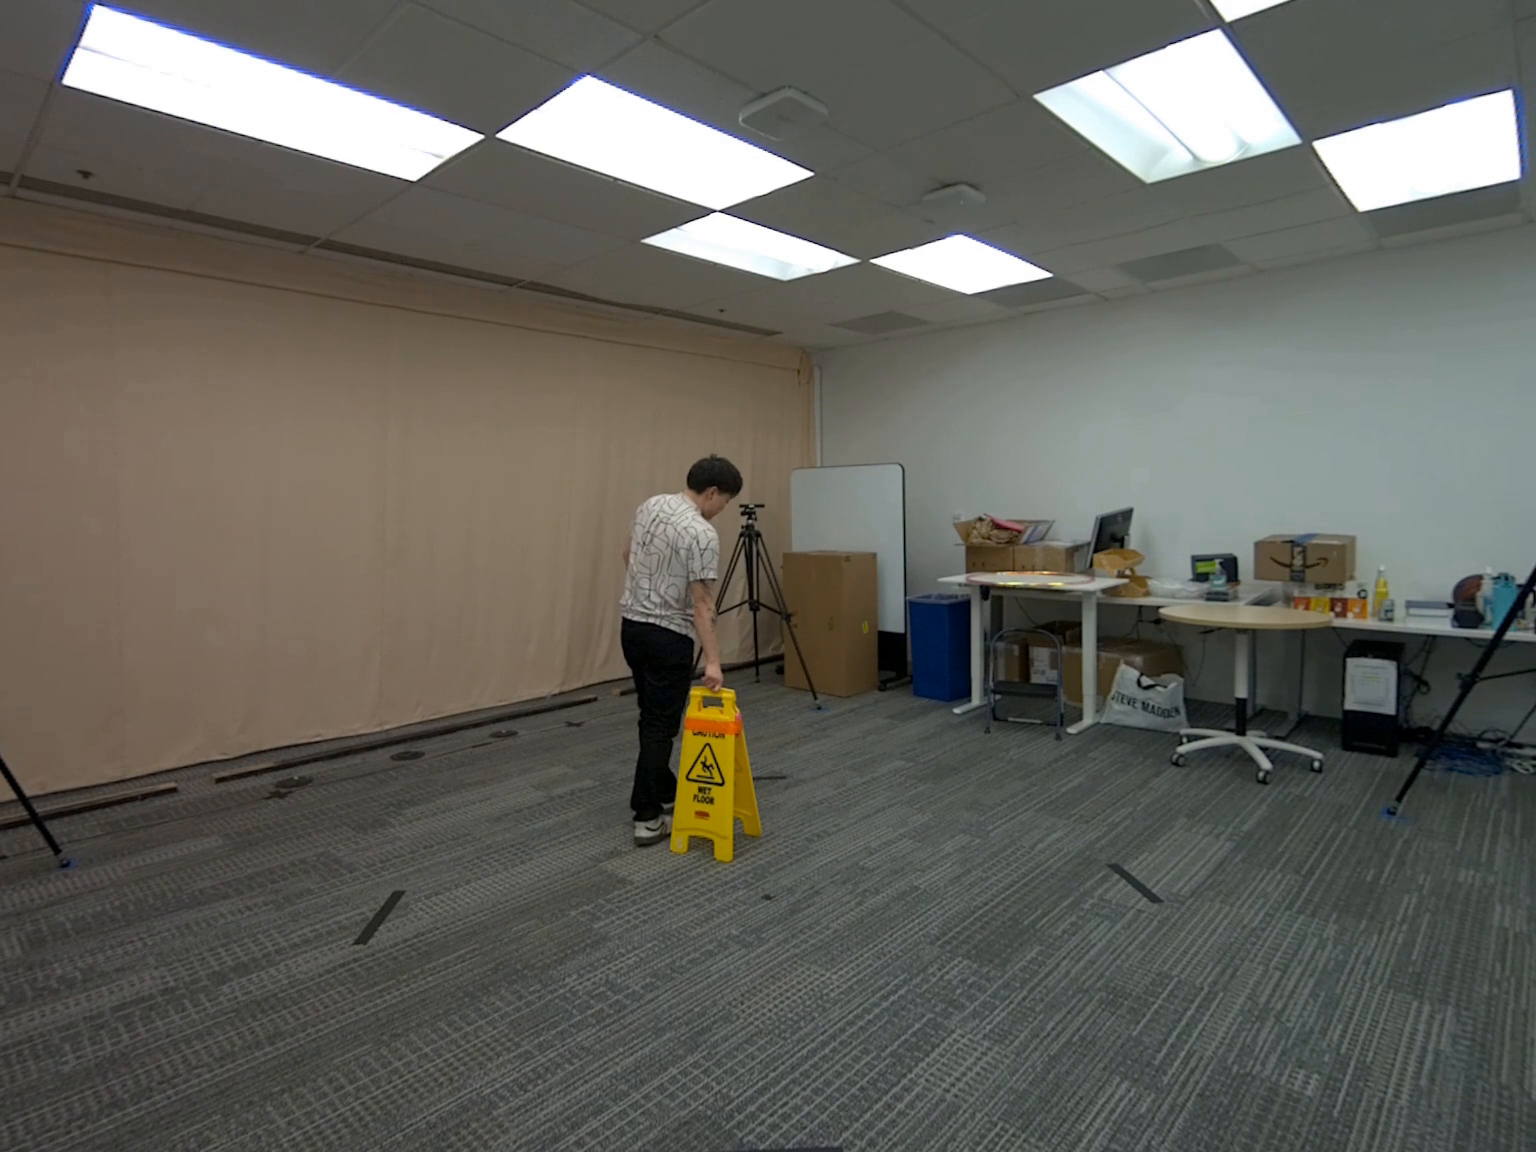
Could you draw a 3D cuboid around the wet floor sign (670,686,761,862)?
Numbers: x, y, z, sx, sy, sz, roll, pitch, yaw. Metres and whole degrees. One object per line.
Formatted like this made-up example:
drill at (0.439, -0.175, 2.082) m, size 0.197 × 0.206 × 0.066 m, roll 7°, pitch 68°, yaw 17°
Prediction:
wet floor sign at (-0.218, 0.780, 3.454) m, size 0.289 × 0.644 × 0.283 m, roll -1°, pitch 4°, yaw 26°
